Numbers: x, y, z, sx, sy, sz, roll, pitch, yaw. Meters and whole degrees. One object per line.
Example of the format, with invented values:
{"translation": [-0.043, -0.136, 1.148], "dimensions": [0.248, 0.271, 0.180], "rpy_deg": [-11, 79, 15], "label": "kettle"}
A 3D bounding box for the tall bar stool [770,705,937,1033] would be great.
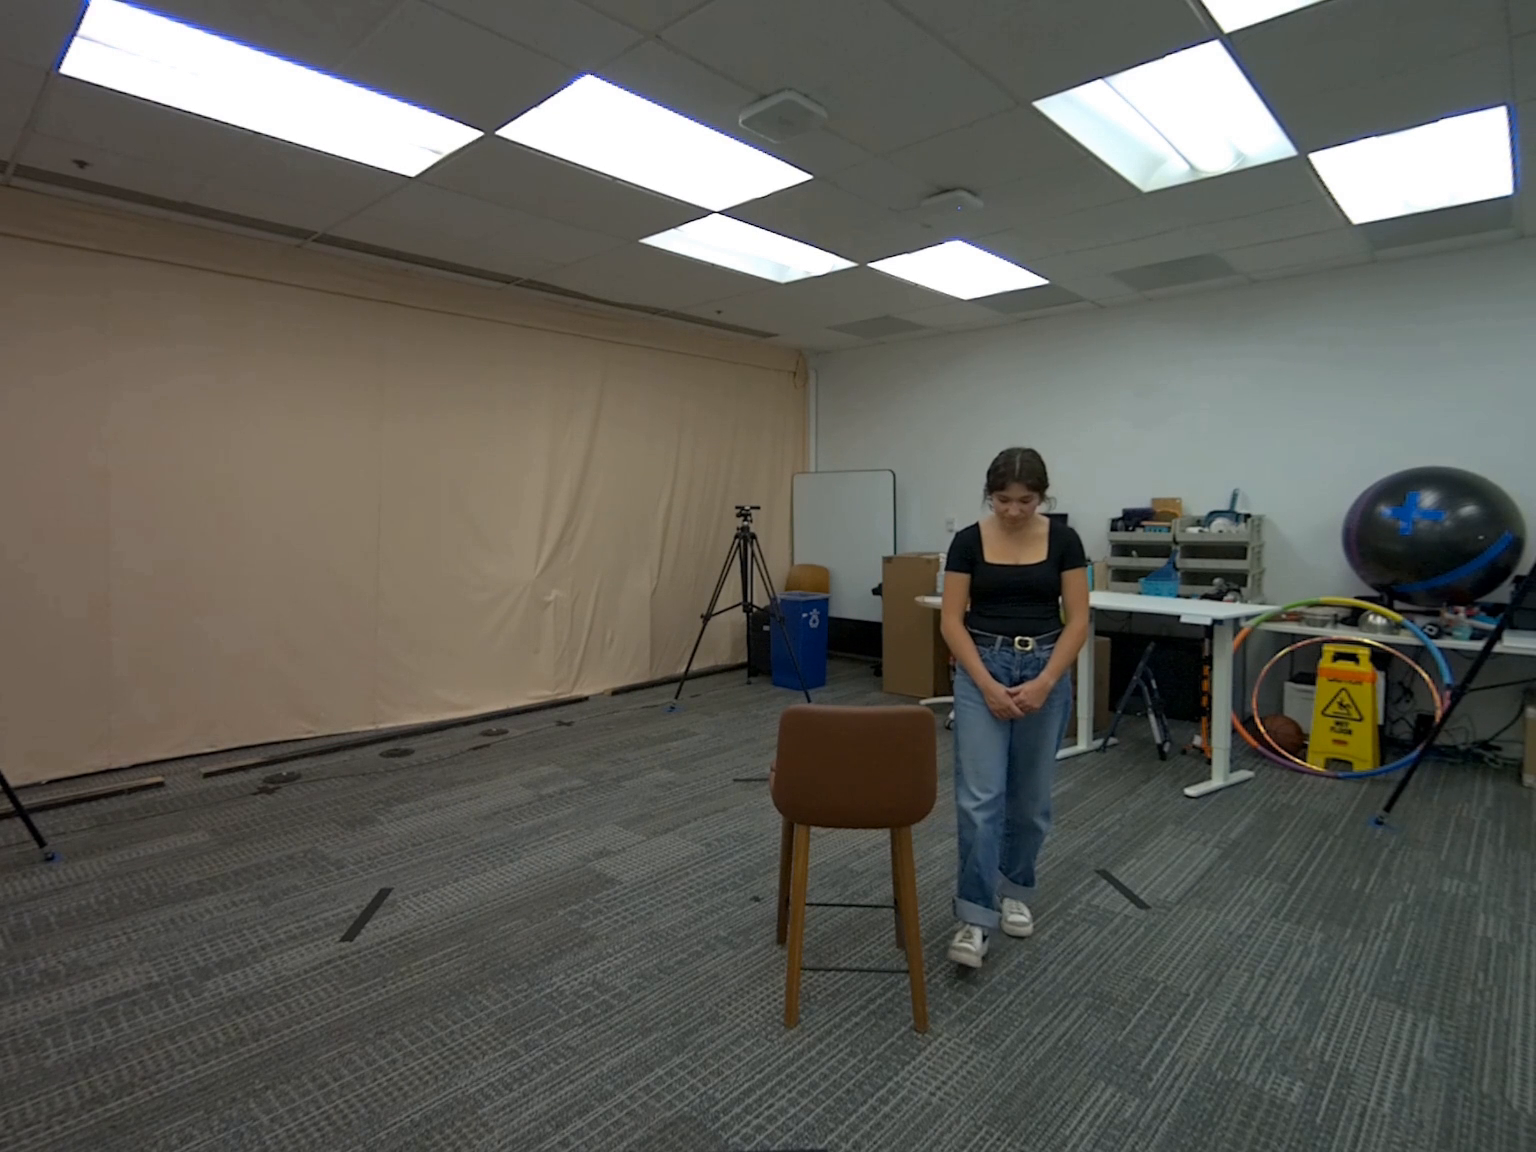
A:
{"translation": [0.238, 0.756, 2.424], "dimensions": [0.458, 0.887, 0.468], "rpy_deg": [0, 4, 1], "label": "tall bar stool"}
